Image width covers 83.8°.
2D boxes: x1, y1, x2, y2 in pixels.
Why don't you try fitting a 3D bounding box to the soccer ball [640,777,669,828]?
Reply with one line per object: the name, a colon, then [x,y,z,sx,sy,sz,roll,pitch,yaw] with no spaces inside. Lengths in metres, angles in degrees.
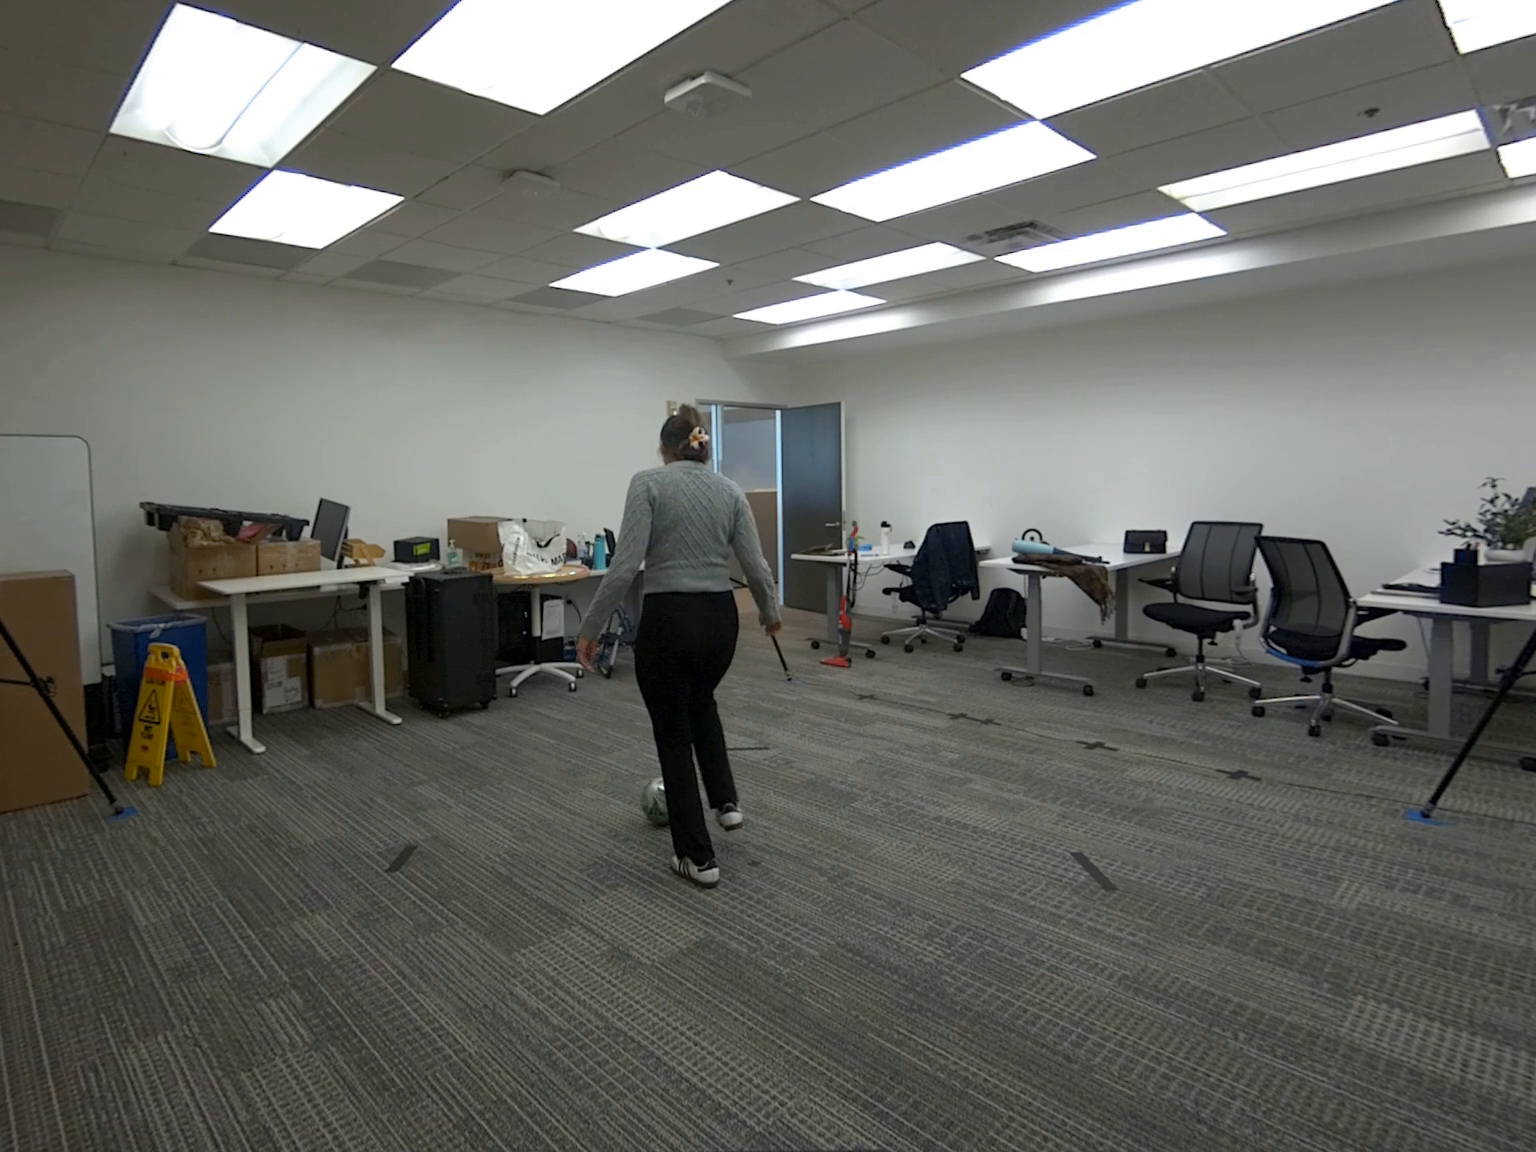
soccer ball: [-0.426,0.914,3.483,0.187,0.187,0.188,-1,5,-2]
